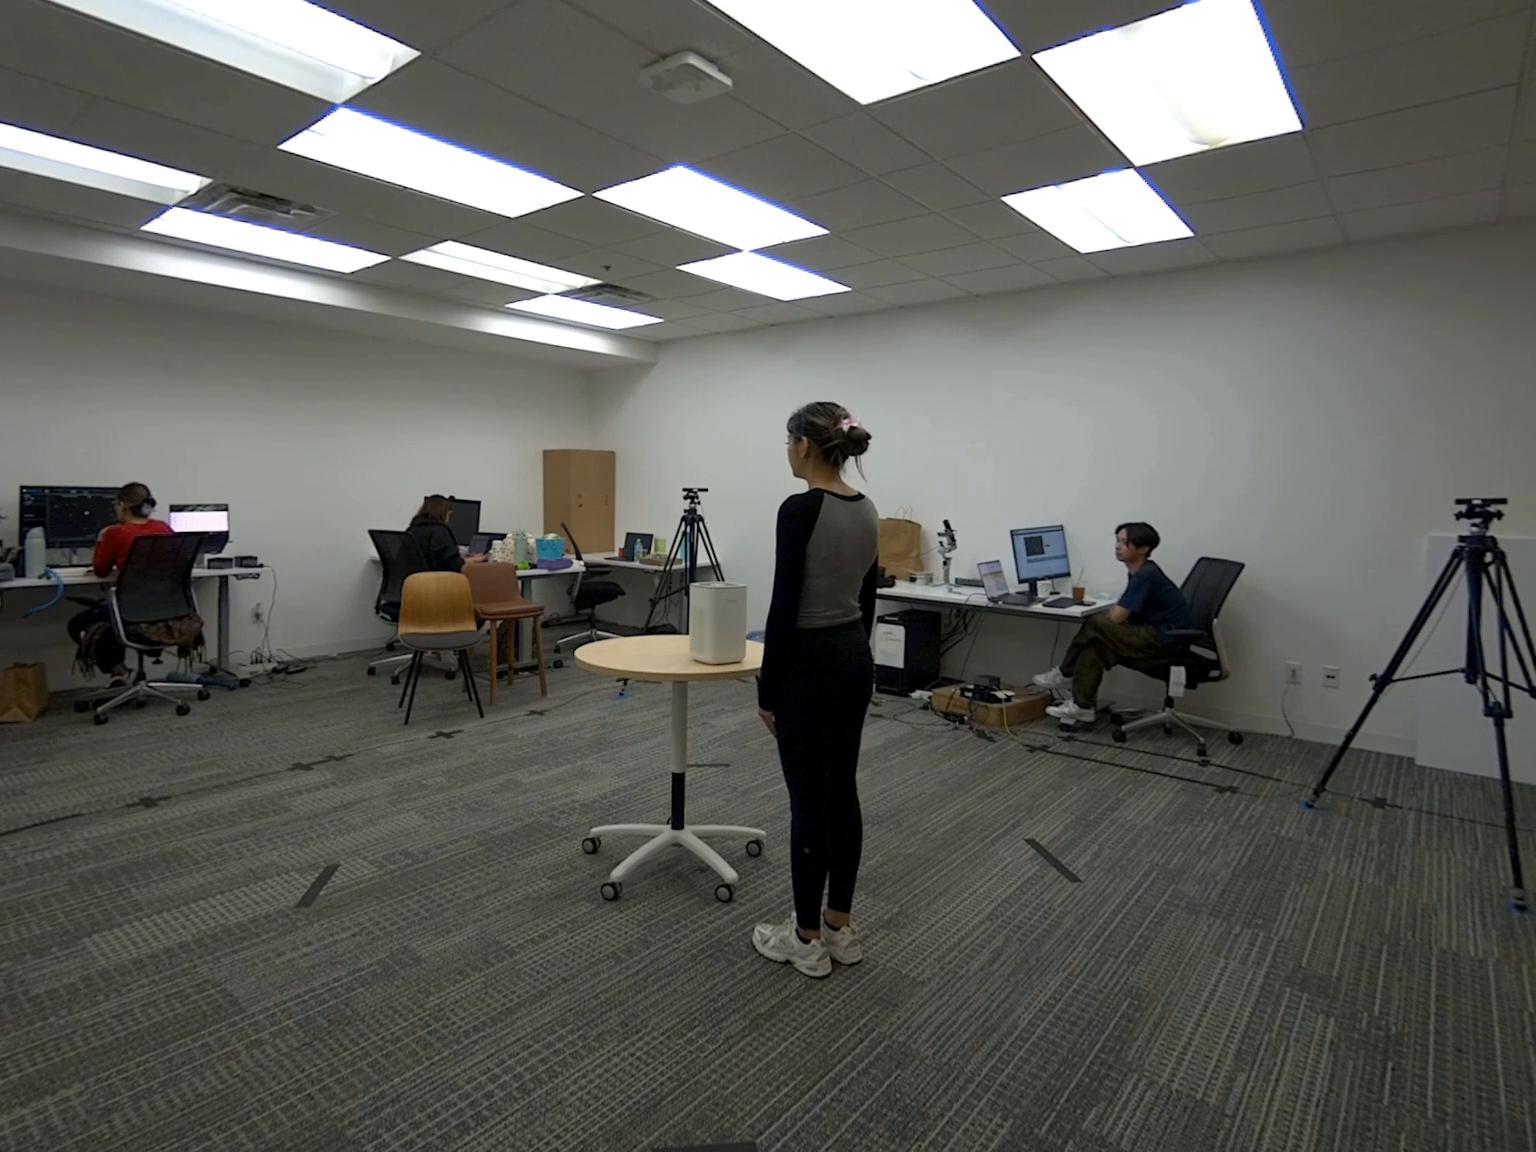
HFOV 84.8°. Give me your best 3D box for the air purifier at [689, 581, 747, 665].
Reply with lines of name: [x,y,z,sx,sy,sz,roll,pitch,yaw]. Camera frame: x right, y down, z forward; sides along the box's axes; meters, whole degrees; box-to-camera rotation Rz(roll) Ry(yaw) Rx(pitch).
air purifier: [-0.184,0.154,2.941,0.166,0.265,0.176,0,3,-36]
